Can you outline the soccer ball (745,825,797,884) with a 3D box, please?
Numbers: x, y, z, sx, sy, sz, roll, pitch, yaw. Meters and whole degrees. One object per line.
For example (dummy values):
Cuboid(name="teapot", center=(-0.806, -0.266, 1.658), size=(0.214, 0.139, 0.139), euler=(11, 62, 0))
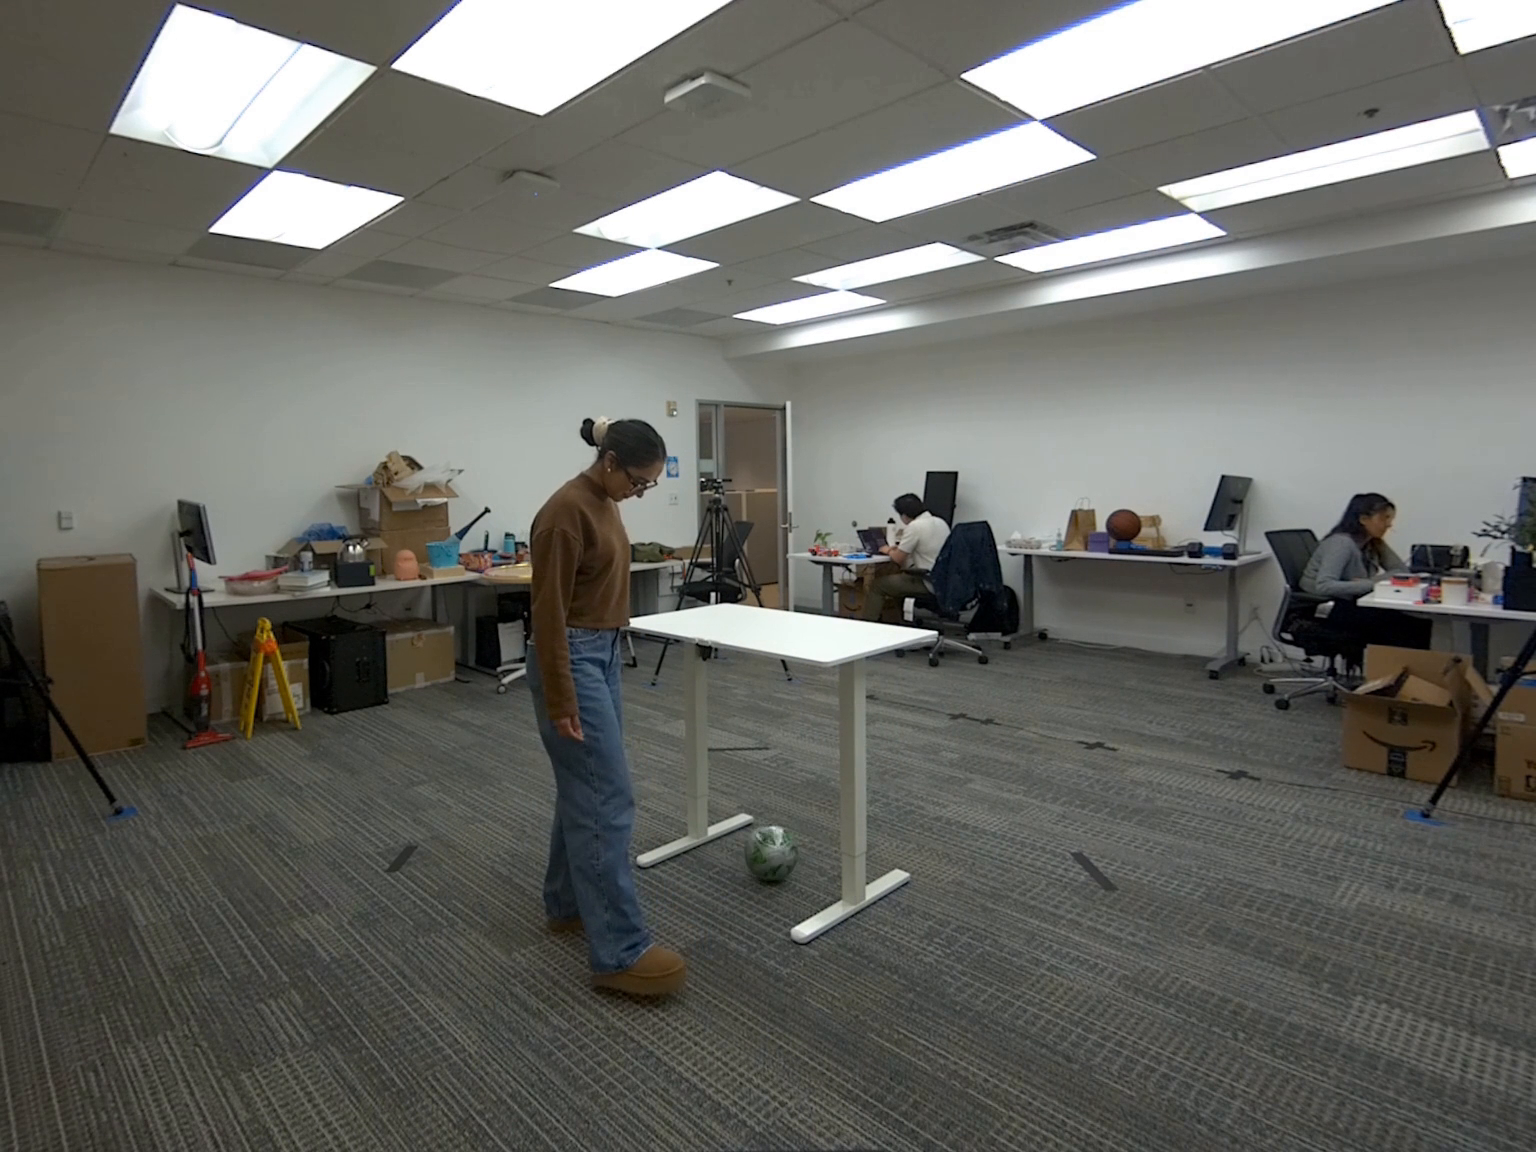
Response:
Cuboid(name="soccer ball", center=(0.015, 0.963, 2.976), size=(0.187, 0.187, 0.188), euler=(-1, 5, -2))
